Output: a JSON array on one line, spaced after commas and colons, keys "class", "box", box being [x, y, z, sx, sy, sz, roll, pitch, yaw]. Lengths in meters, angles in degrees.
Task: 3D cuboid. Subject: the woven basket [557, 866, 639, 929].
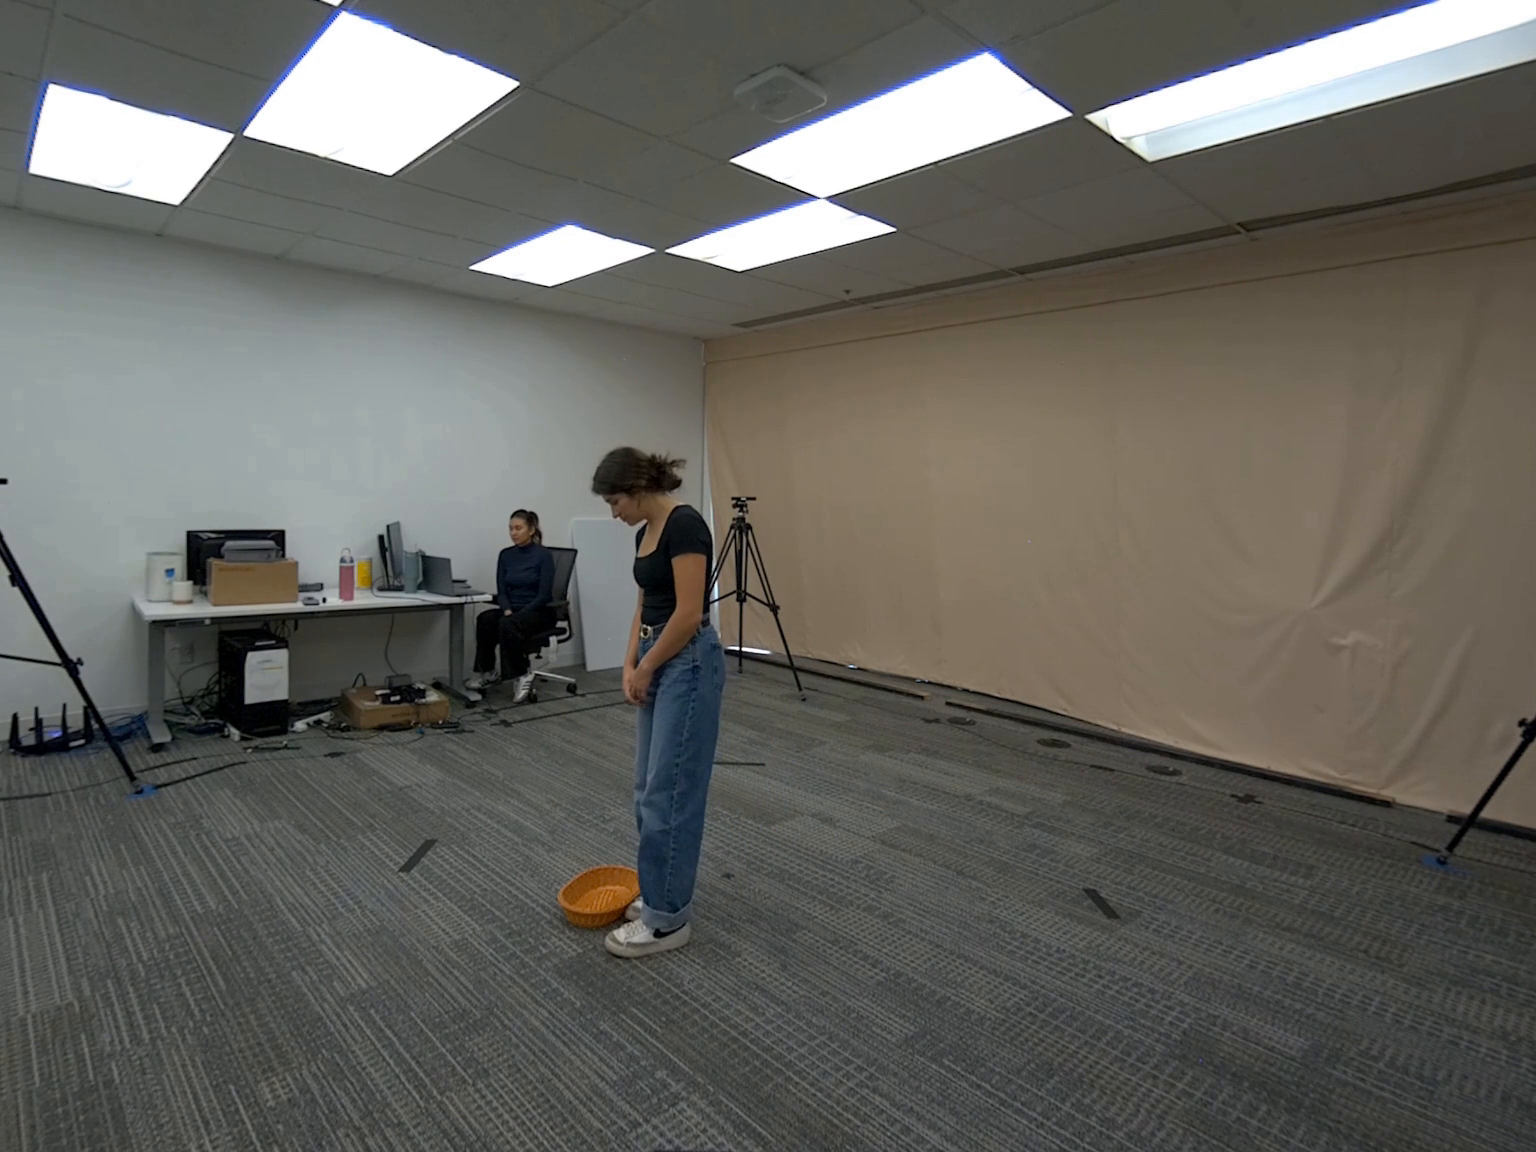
[{"class": "woven basket", "box": [-0.552, 1.077, 2.839, 0.257, 0.073, 0.345, 4, 5, 21]}]
